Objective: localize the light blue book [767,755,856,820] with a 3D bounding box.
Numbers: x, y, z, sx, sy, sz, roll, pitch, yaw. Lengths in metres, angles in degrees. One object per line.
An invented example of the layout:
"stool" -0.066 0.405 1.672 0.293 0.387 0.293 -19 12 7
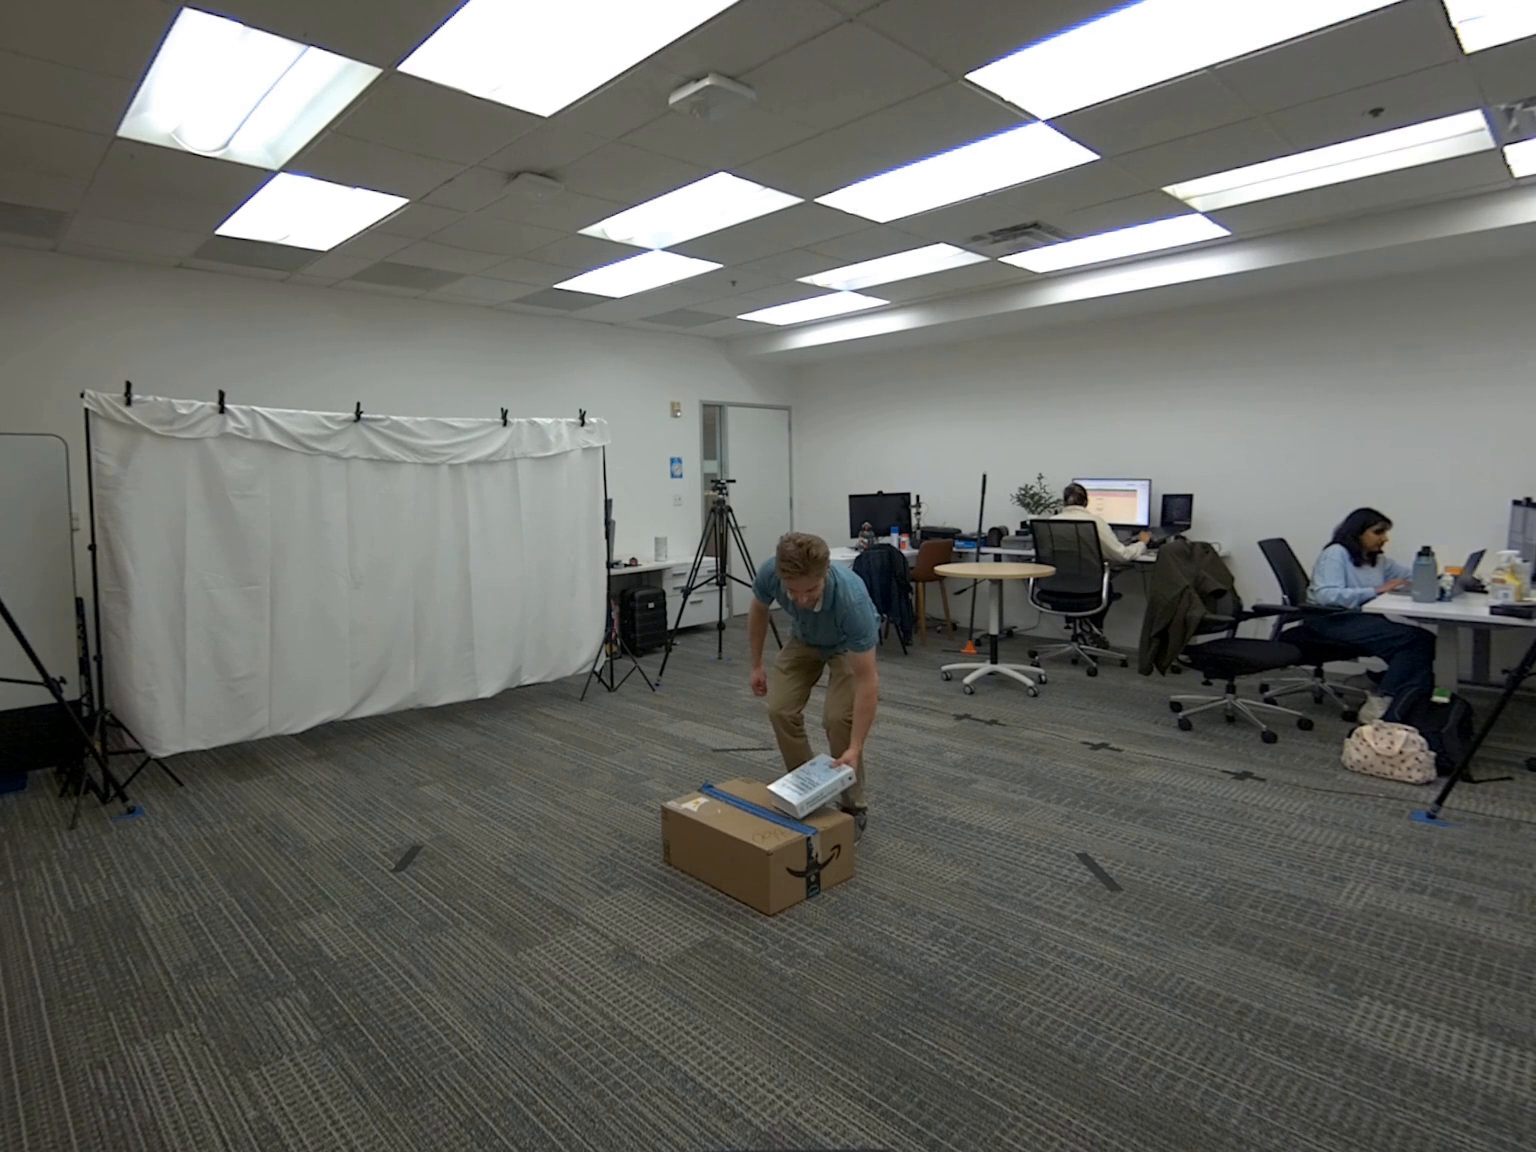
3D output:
"light blue book" 0.152 0.749 3.046 0.258 0.058 0.197 -24 18 -23
